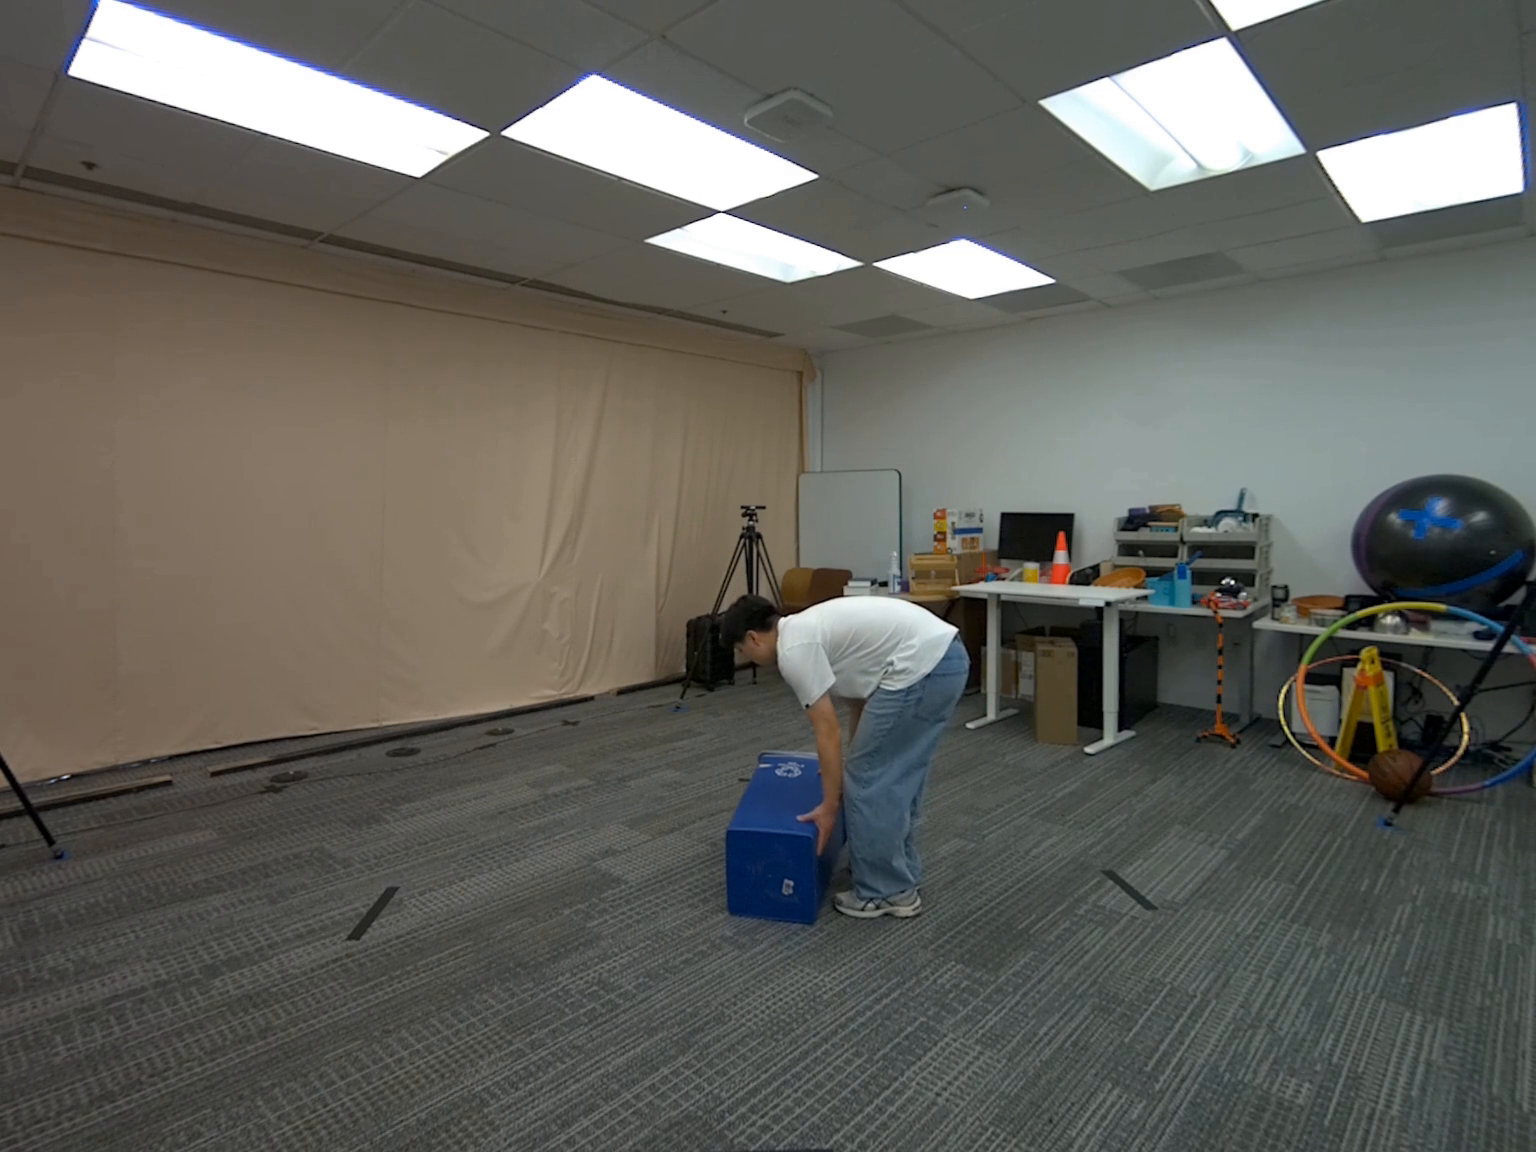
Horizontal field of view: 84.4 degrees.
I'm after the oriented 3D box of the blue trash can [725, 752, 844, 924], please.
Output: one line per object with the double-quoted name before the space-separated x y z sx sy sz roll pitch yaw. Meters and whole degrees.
"blue trash can" 0.070 0.961 3.162 0.379 0.376 0.707 1 7 11
